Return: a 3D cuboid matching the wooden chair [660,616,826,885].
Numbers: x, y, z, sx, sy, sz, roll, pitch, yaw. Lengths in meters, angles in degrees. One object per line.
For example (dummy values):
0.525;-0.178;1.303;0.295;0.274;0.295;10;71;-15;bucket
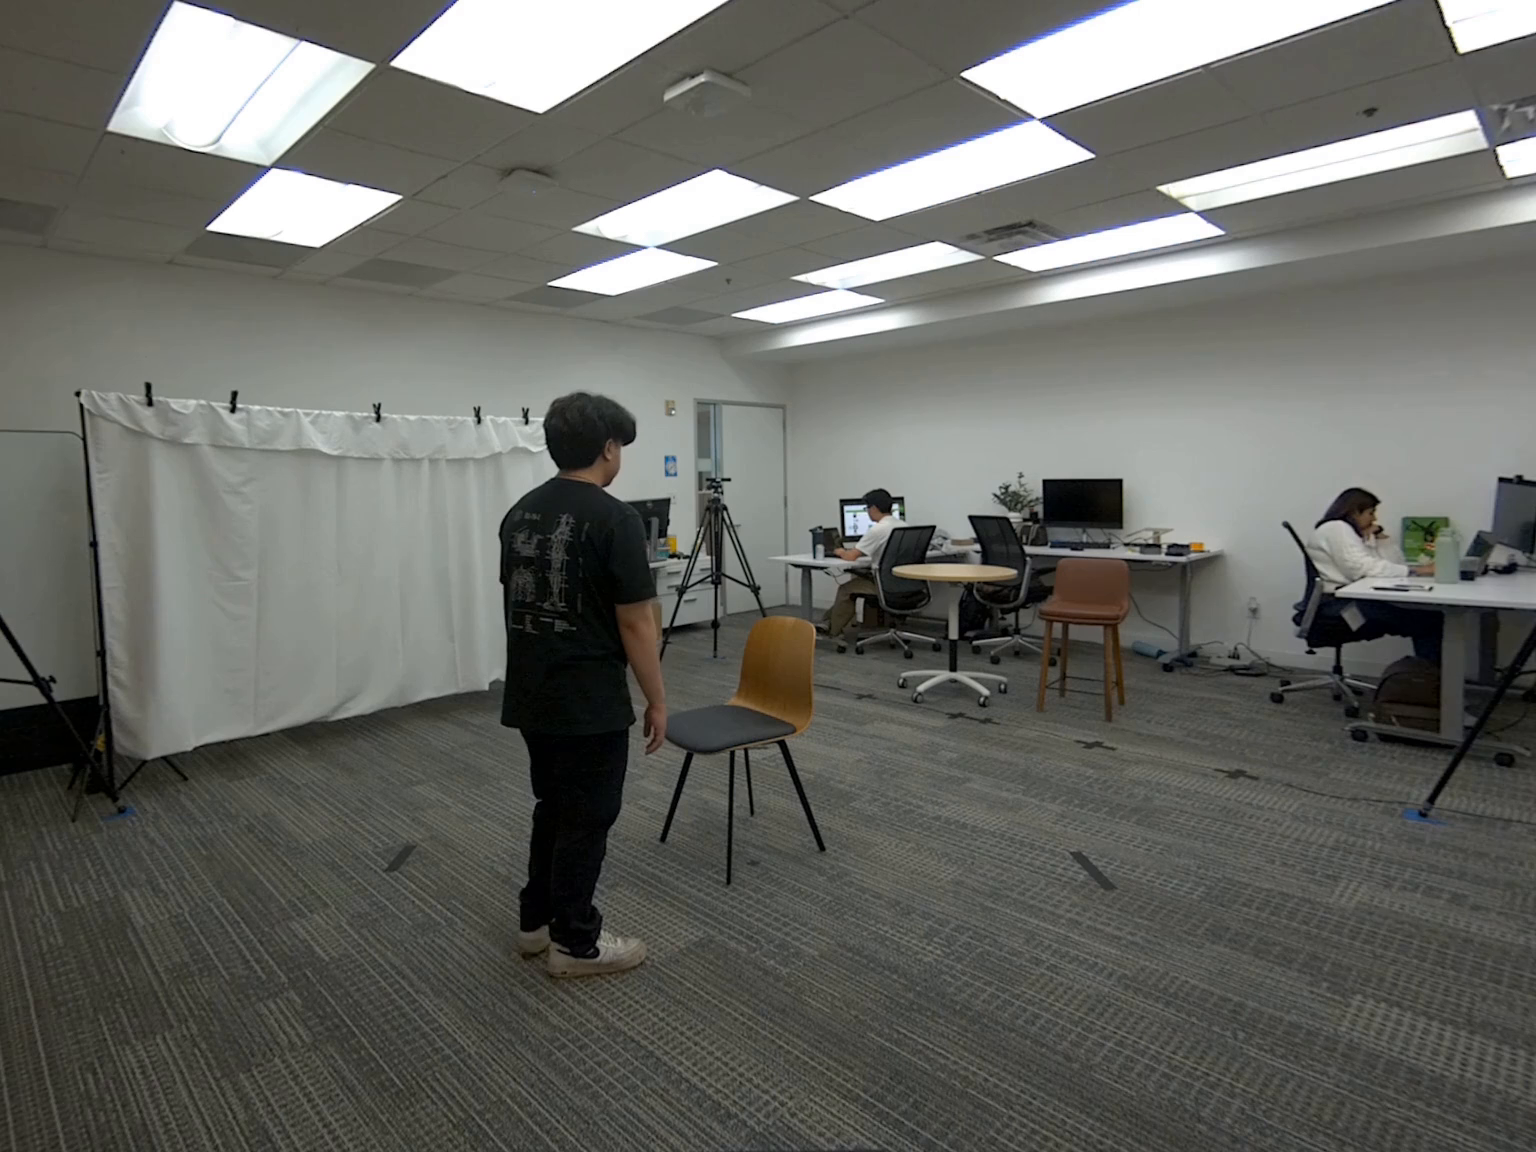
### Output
-0.111;0.604;3.206;0.508;0.876;0.492;1;2;-37;wooden chair
